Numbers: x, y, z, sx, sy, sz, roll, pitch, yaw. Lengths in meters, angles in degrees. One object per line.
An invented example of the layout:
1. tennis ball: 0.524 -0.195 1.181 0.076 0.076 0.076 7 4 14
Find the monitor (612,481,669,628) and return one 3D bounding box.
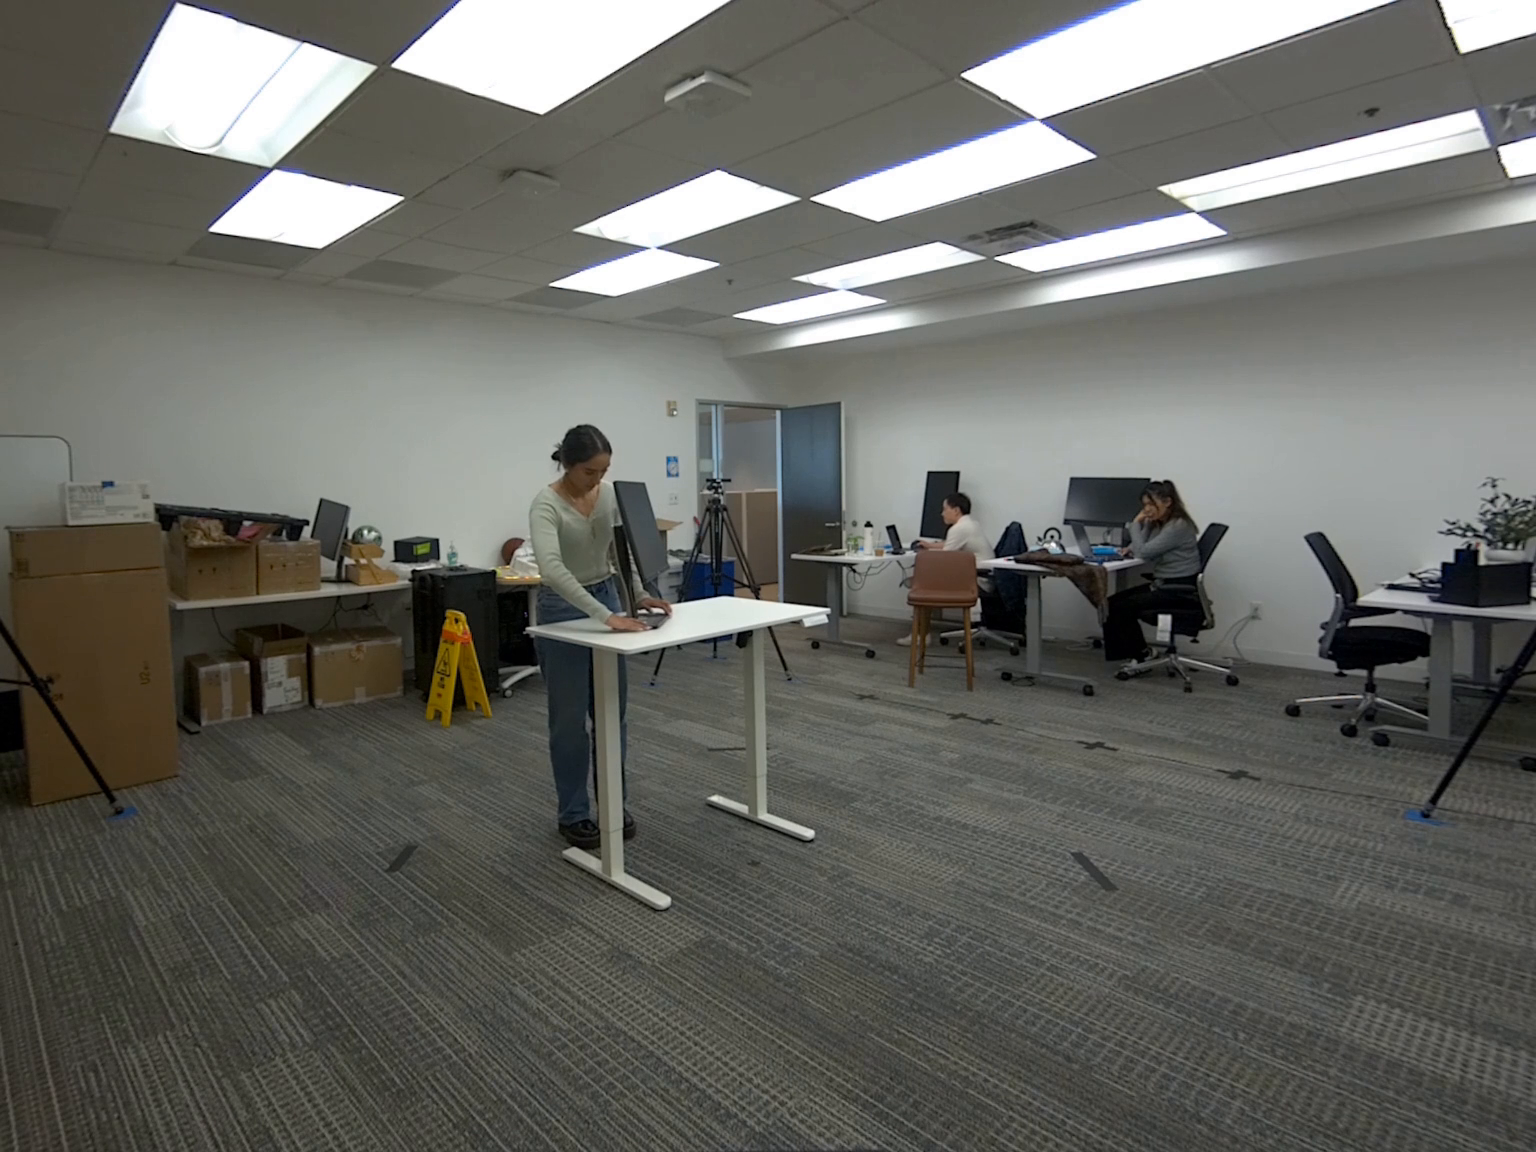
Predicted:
1. monitor: -0.471 -0.083 3.082 0.175 0.515 0.530 1 4 2
